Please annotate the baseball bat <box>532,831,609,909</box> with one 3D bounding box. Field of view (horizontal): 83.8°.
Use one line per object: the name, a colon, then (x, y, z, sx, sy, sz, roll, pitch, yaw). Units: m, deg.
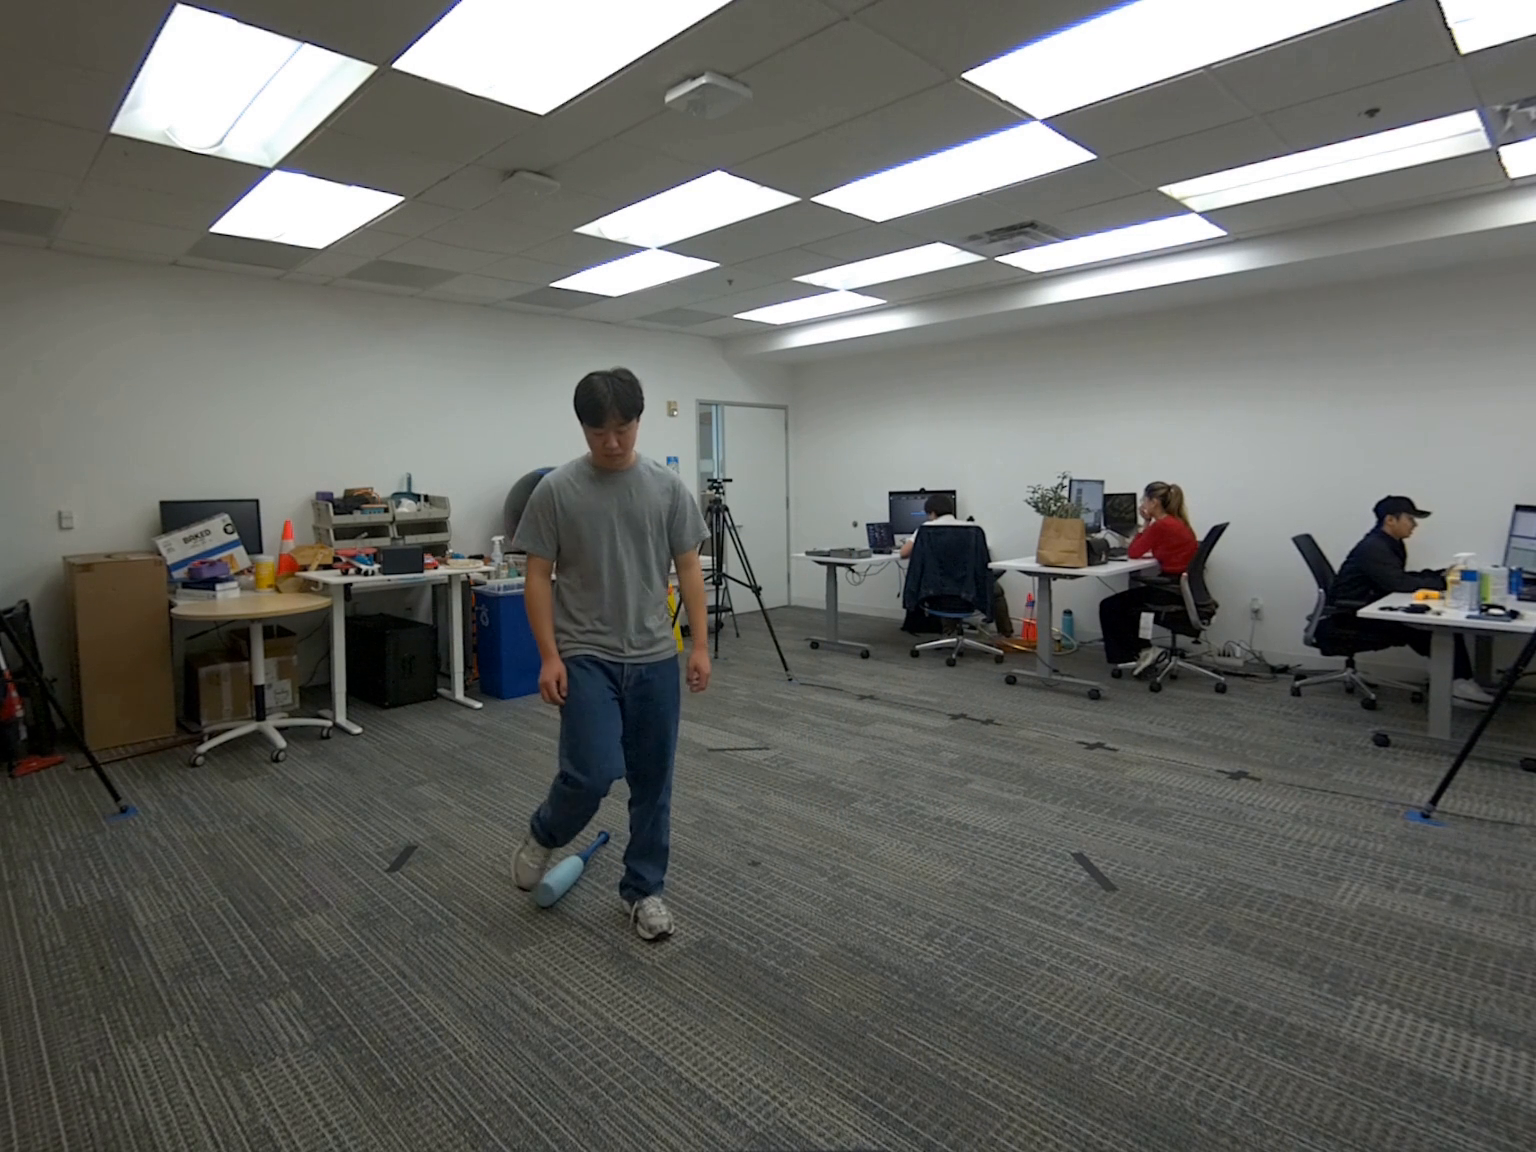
baseball bat: (-0.680, 1.028, 3.053, 0.090, 0.089, 0.538, 0, 4, 11)
